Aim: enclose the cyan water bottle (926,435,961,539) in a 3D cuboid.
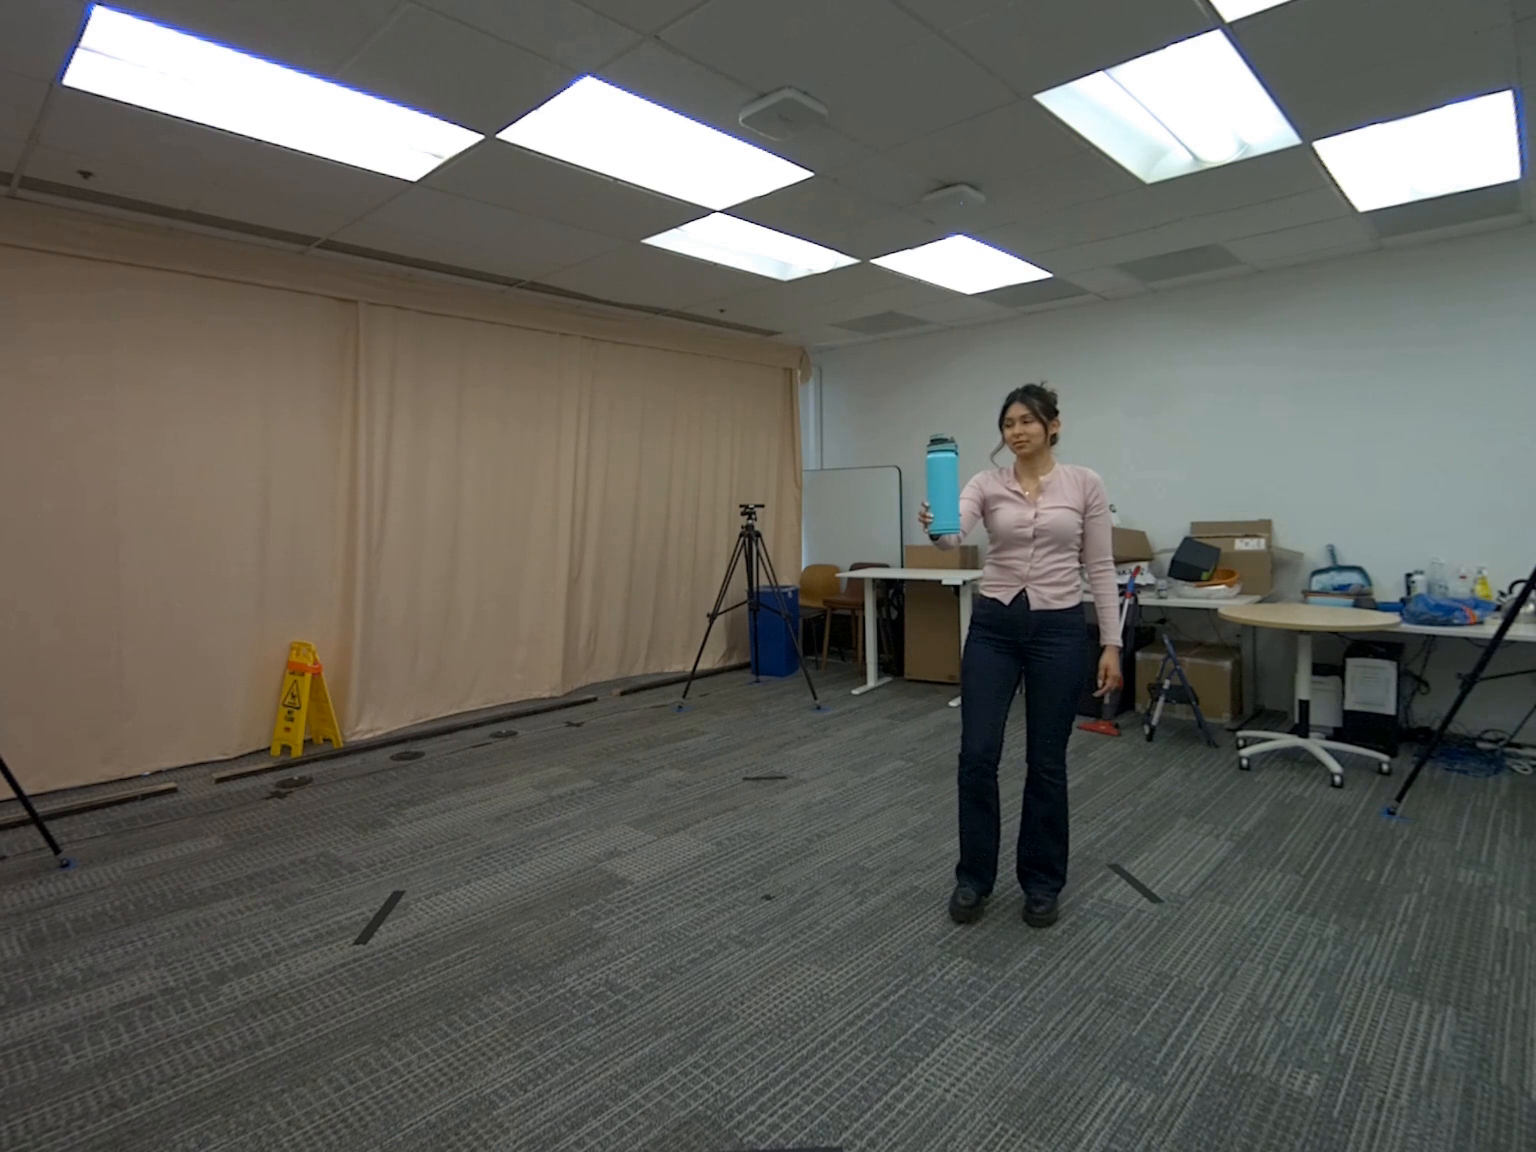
[{"bbox_3d":[0.503,-0.262,2.381,0.092,0.284,0.092,-1,-2,-2],"label":"cyan water bottle"}]
